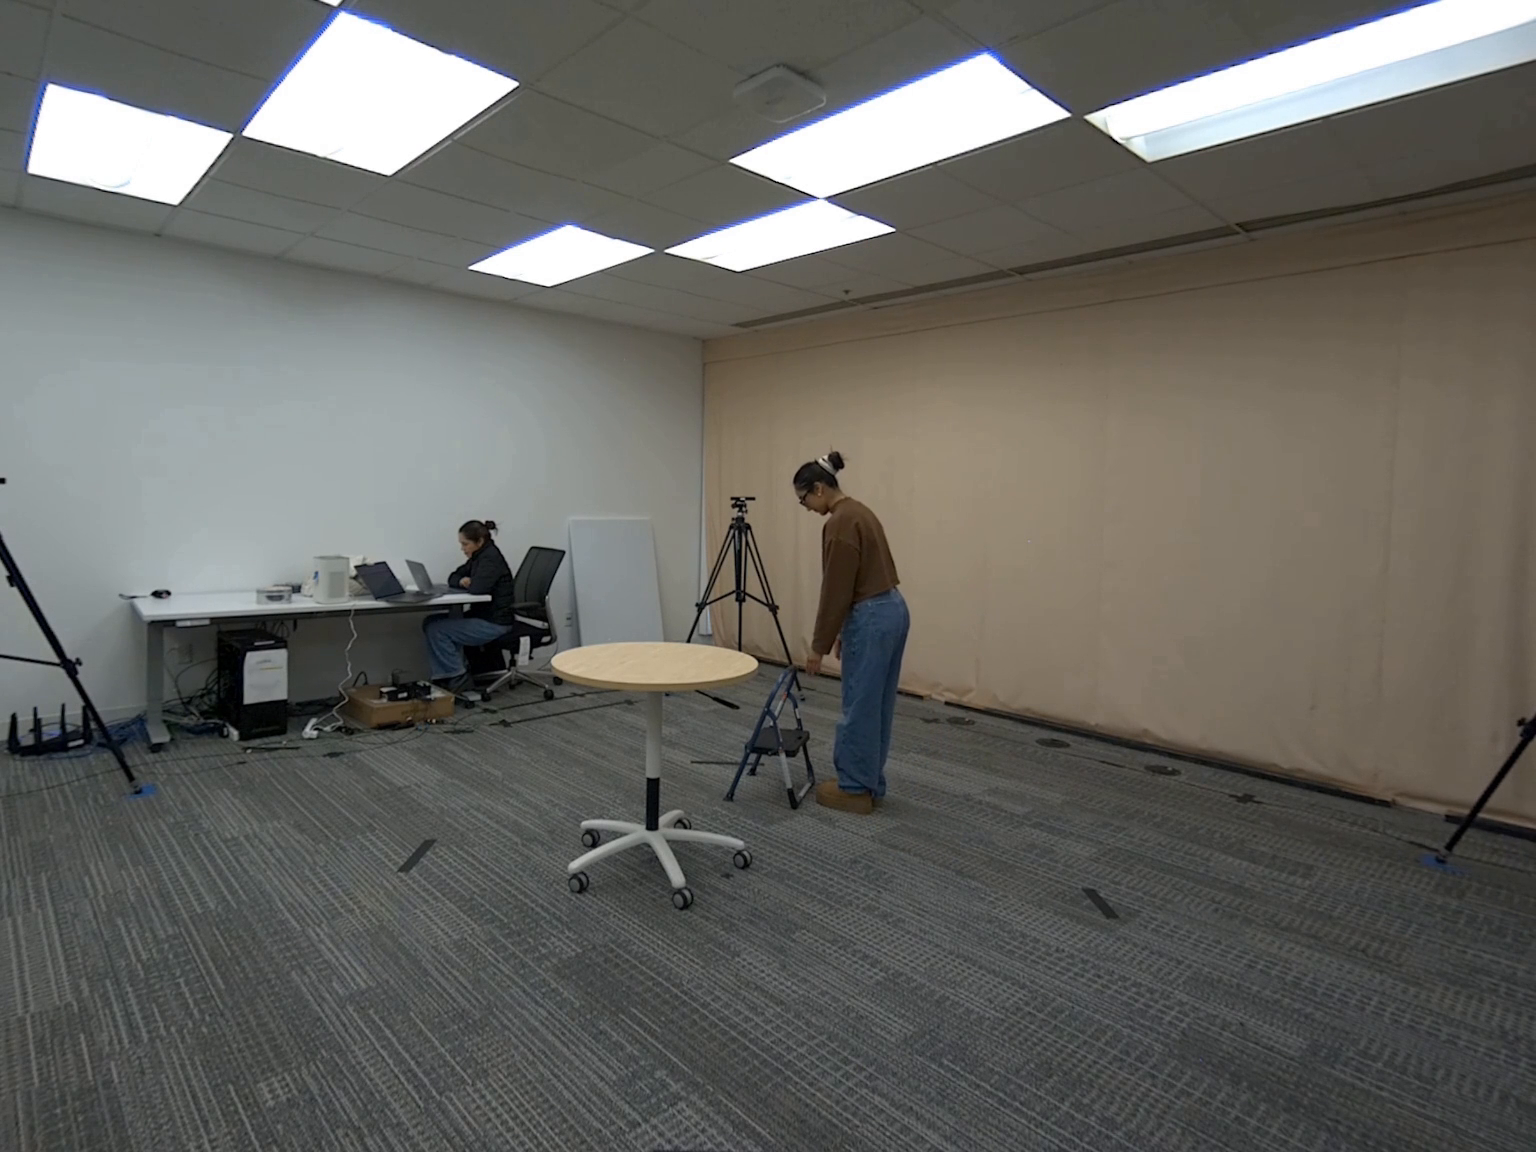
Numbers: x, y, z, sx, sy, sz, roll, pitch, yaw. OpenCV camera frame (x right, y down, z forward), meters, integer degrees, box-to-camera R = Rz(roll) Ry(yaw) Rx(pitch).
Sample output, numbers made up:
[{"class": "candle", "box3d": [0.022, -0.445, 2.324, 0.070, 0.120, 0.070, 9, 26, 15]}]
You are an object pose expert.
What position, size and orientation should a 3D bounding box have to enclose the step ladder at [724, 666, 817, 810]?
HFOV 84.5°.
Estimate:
[{"class": "step ladder", "box3d": [0.021, 0.726, 4.019, 0.354, 0.604, 0.426, 3, 4, 16]}]
